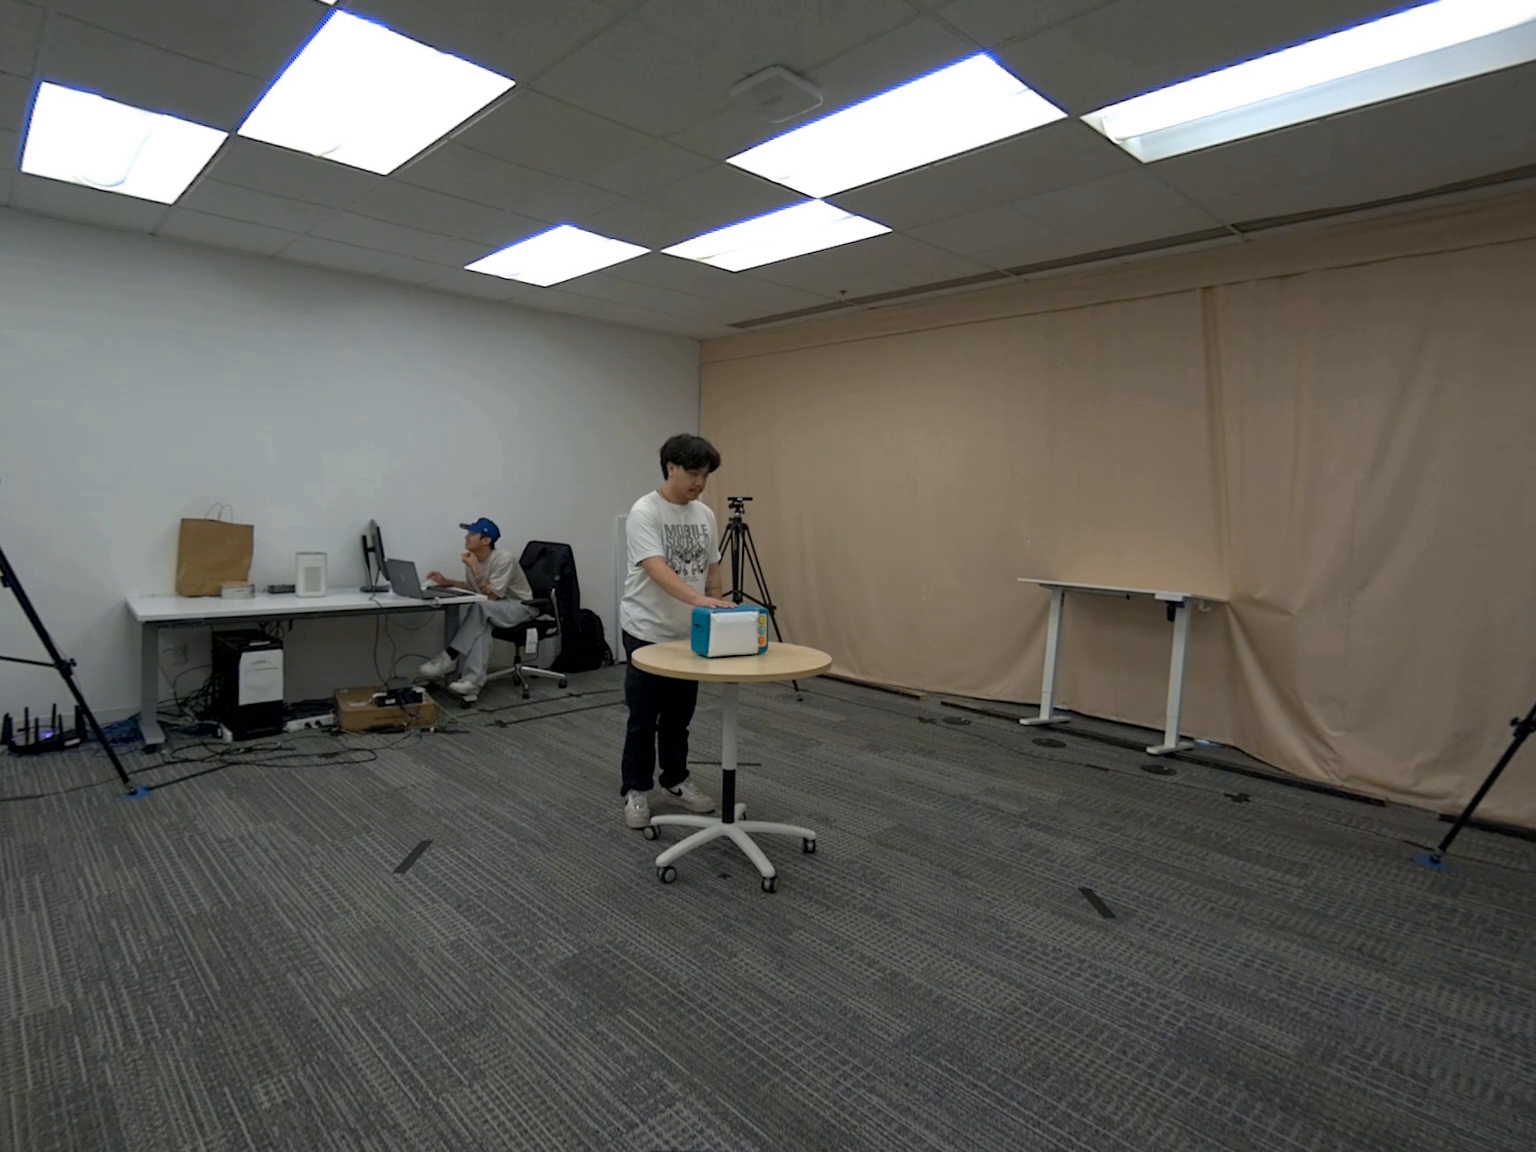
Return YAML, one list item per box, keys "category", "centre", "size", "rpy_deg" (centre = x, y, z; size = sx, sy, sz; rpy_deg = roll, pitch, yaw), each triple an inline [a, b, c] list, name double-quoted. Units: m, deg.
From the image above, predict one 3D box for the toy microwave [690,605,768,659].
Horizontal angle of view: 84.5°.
- category: "toy microwave"
  centre: [-0.149, 0.210, 3.238]
  size: [0.280, 0.184, 0.156]
  rpy_deg: [-1, 3, -30]
